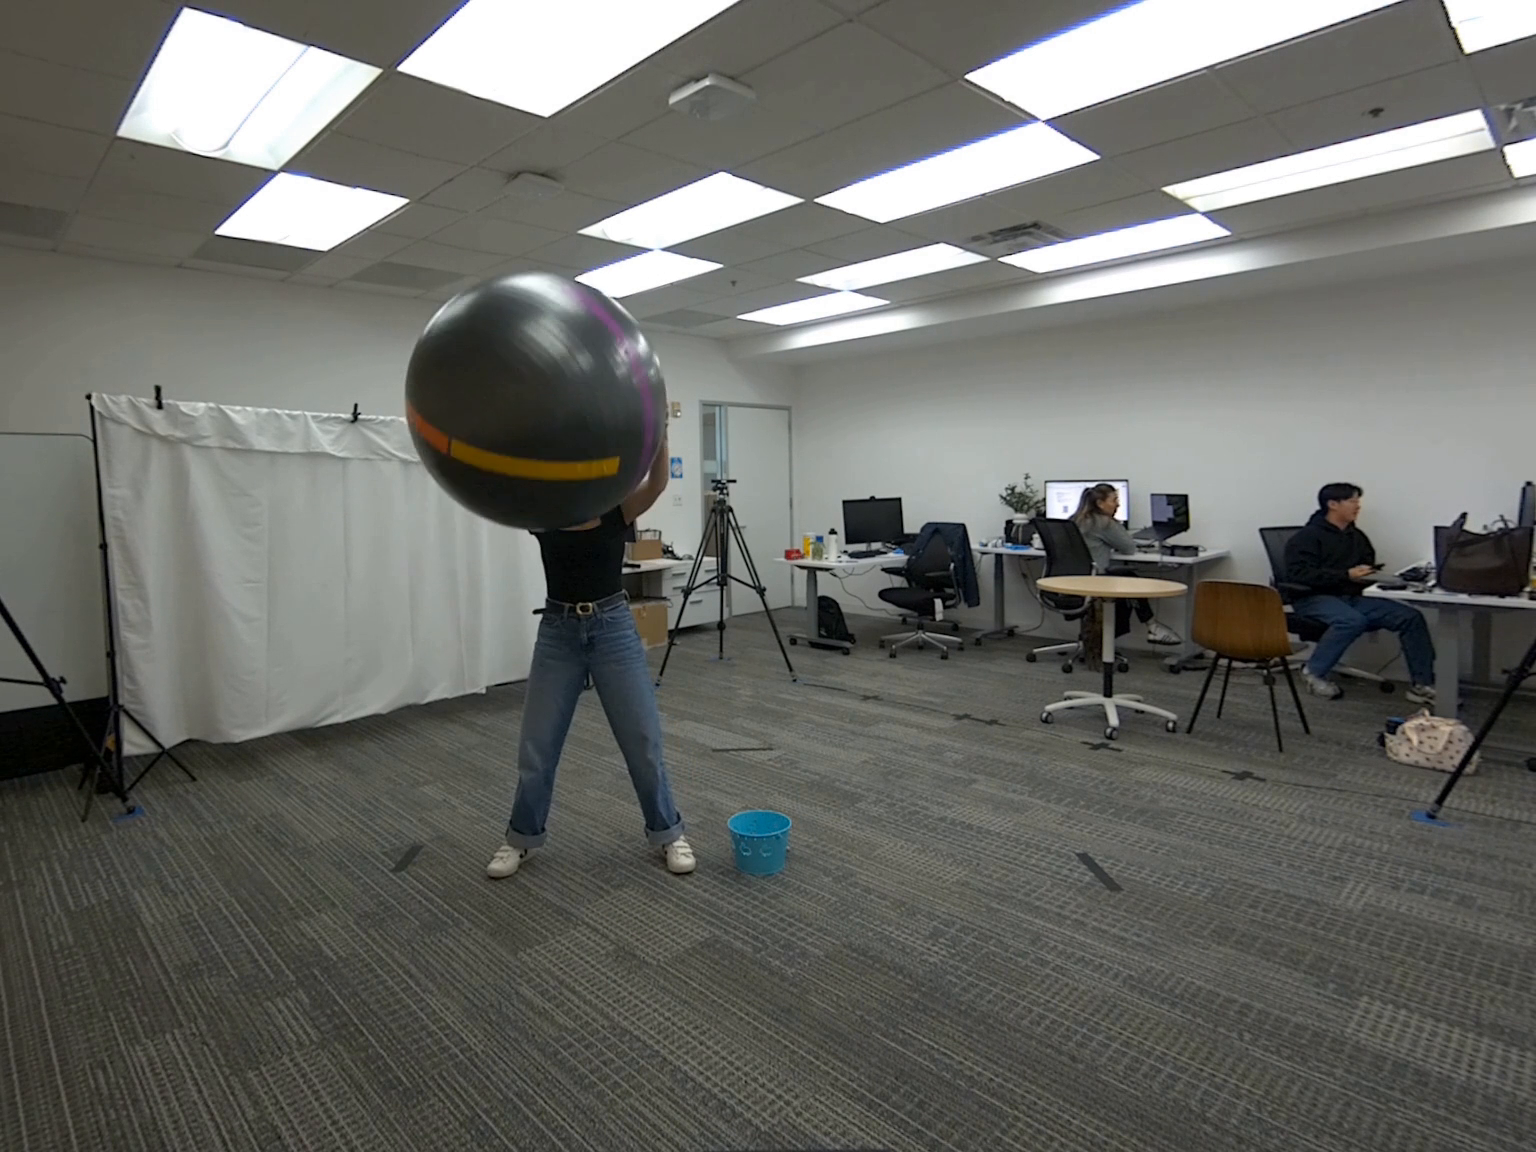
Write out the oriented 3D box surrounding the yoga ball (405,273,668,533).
[{"bbox_3d":[-0.682,-0.489,2.544,0.757,0.755,0.762,-1,5,-2],"label":"yoga ball"}]
